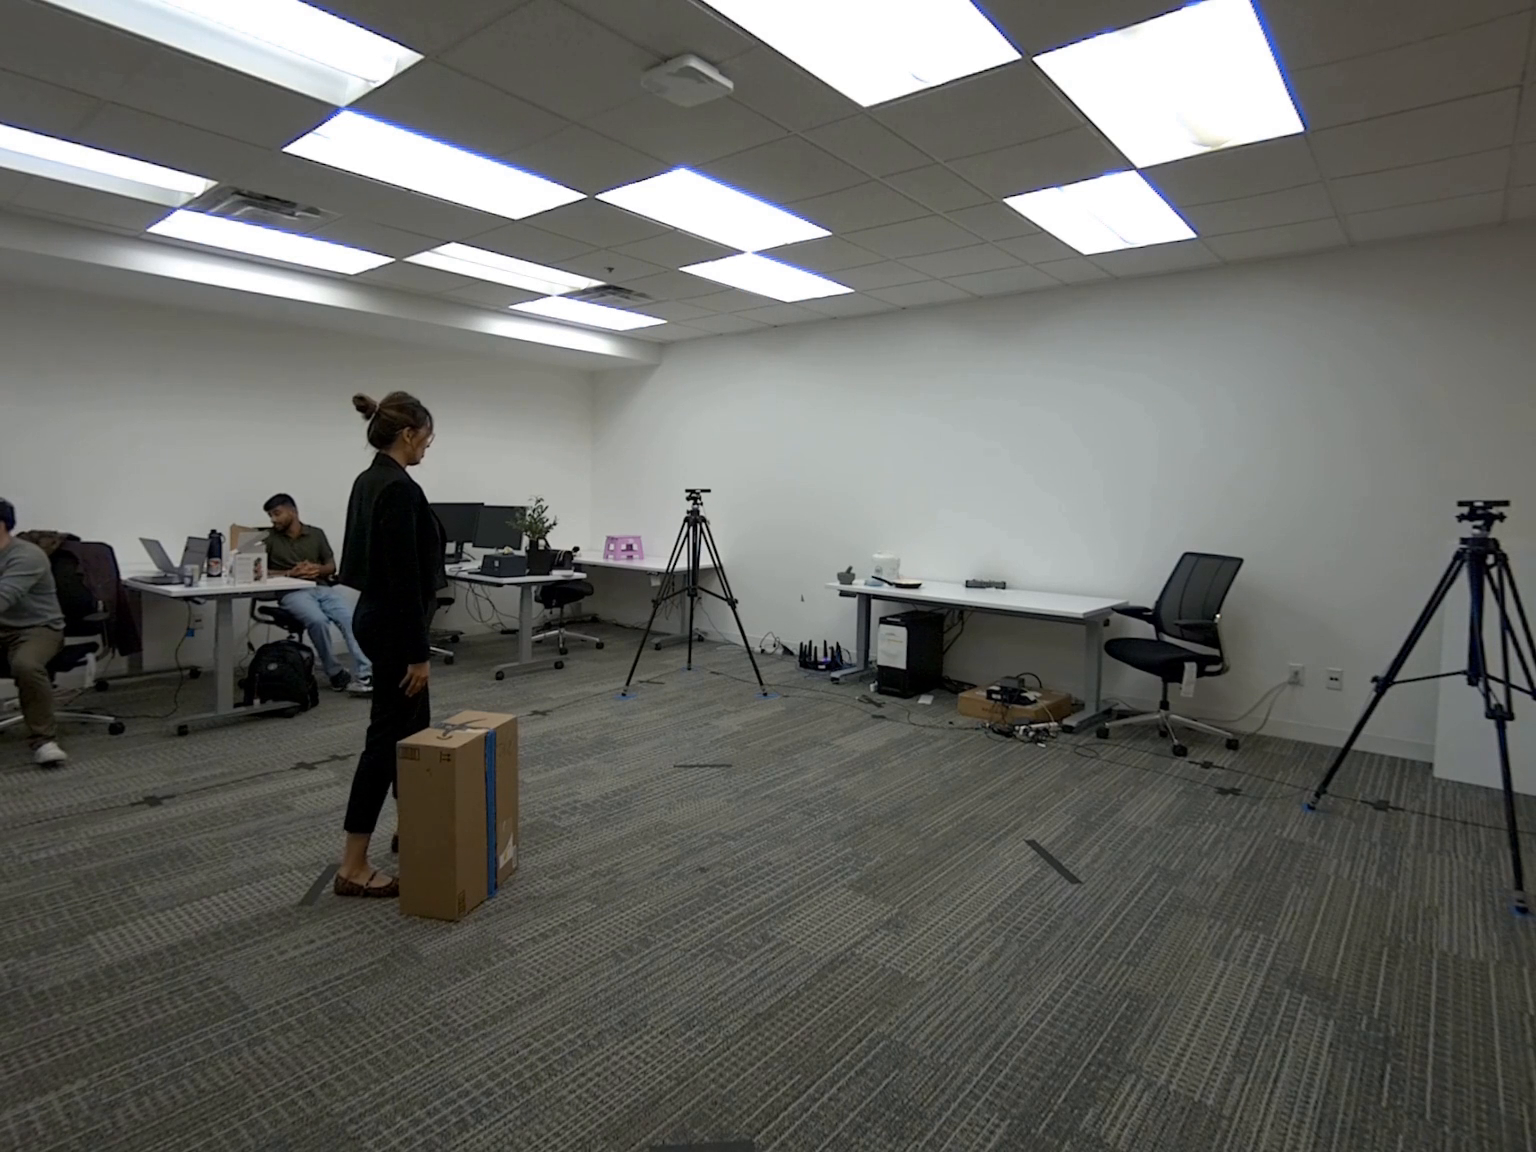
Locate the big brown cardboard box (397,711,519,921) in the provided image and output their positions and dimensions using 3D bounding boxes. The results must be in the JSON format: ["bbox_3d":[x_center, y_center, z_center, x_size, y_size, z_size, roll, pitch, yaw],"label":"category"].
[{"bbox_3d":[-1.056,0.801,2.905,0.236,0.587,0.414,1,5,11],"label":"big brown cardboard box"}]
